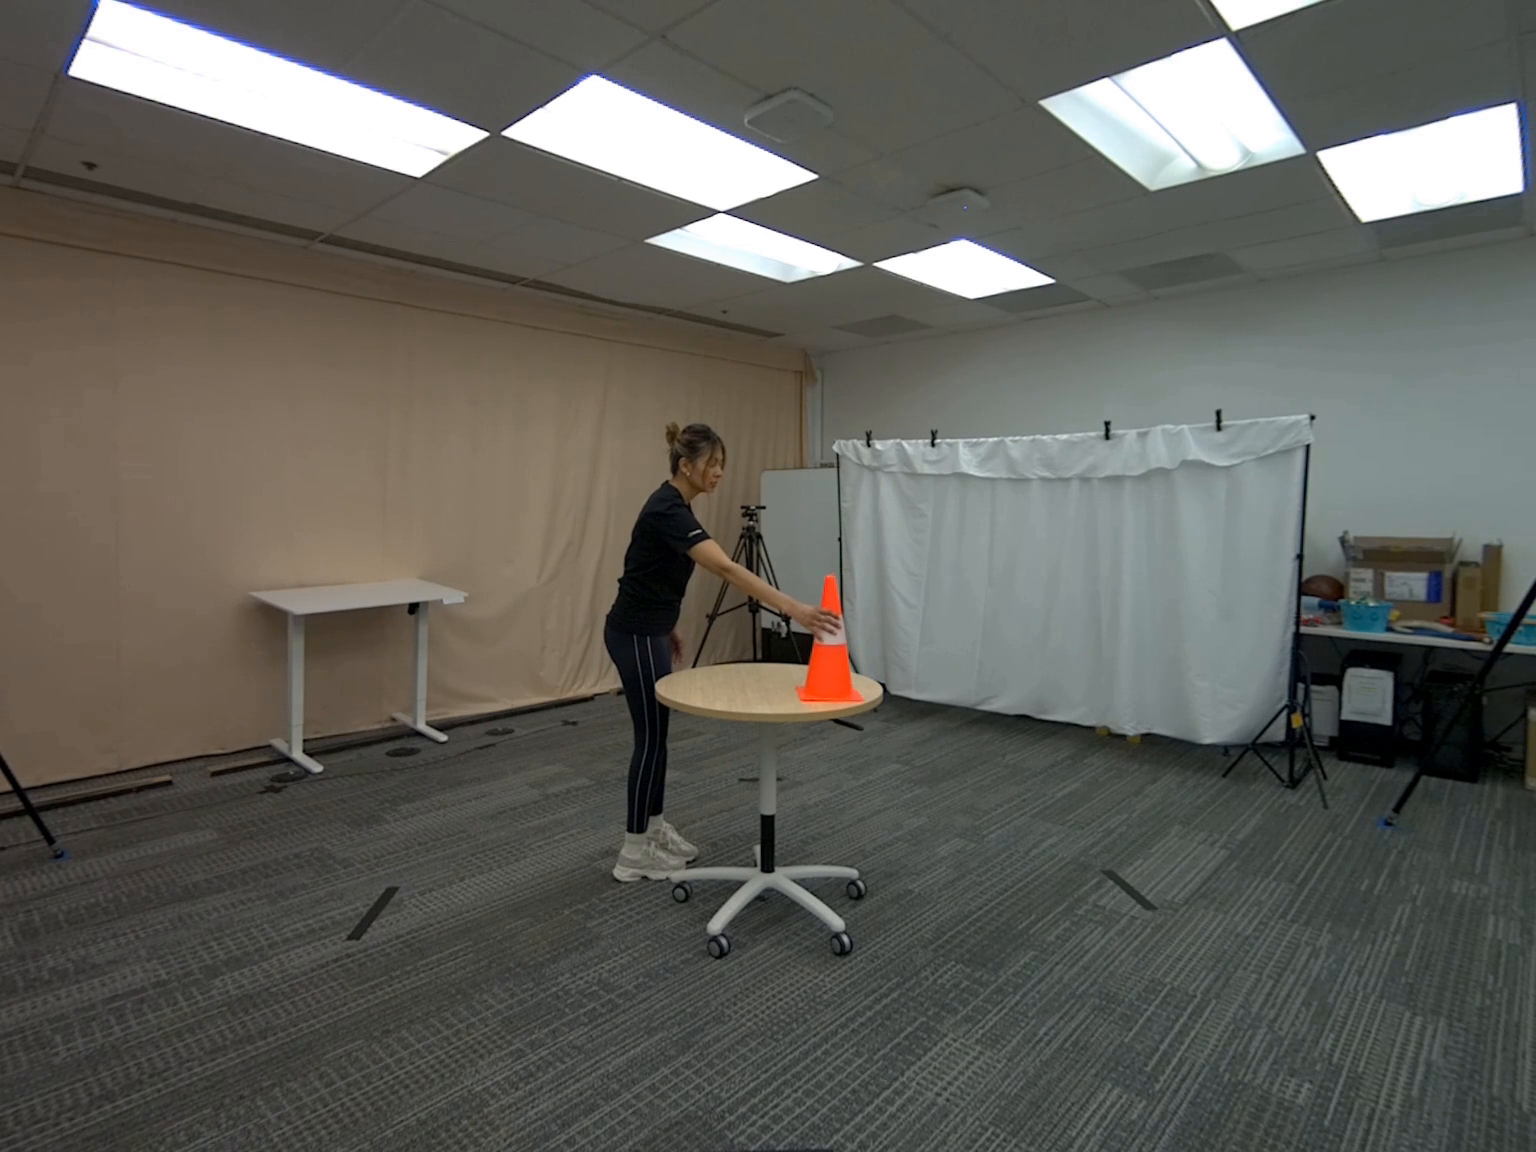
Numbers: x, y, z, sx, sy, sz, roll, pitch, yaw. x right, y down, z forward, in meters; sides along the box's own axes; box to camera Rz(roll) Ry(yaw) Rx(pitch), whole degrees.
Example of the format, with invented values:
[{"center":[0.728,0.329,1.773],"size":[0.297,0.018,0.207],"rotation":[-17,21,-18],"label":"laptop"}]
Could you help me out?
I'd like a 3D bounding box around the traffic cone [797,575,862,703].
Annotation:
[{"center":[0.203,0.183,2.704],"size":[0.203,0.383,0.205],"rotation":[-1,3,-8],"label":"traffic cone"}]
